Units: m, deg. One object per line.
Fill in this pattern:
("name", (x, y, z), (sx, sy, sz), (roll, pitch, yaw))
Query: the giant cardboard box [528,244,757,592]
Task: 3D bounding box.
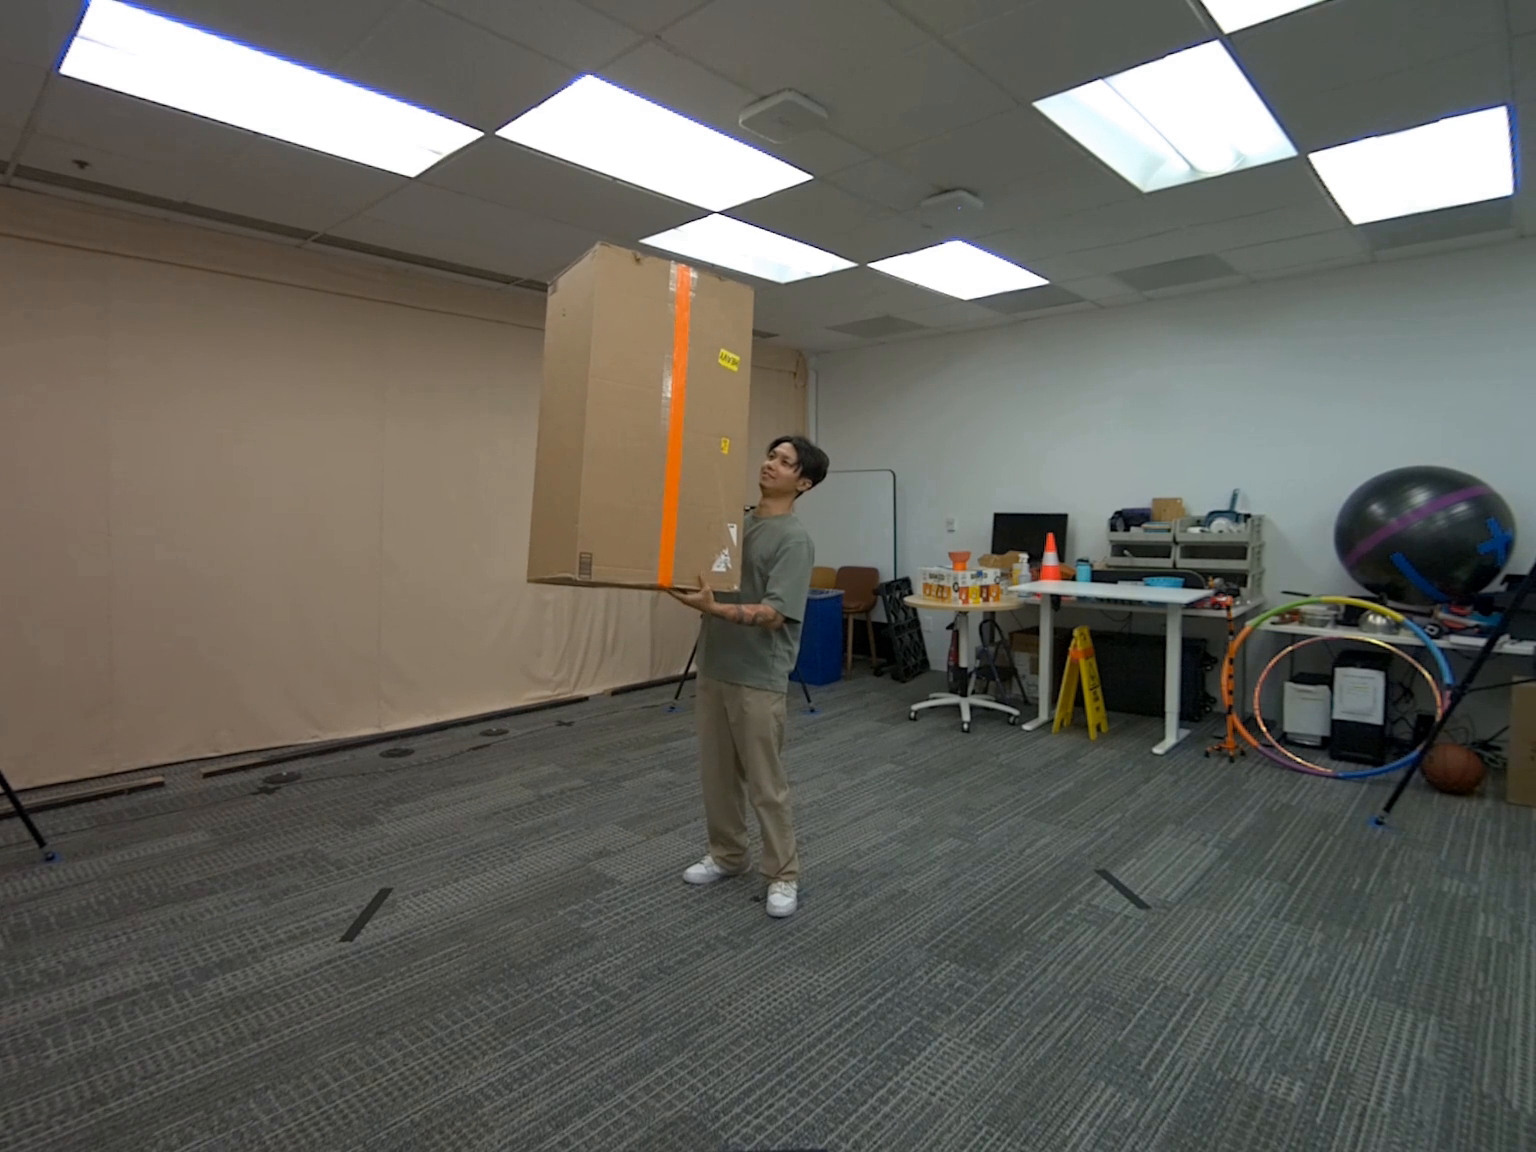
("giant cardboard box", (-0.421, -0.466, 2.793), (0.560, 1.028, 0.438), (5, -5, -34))
